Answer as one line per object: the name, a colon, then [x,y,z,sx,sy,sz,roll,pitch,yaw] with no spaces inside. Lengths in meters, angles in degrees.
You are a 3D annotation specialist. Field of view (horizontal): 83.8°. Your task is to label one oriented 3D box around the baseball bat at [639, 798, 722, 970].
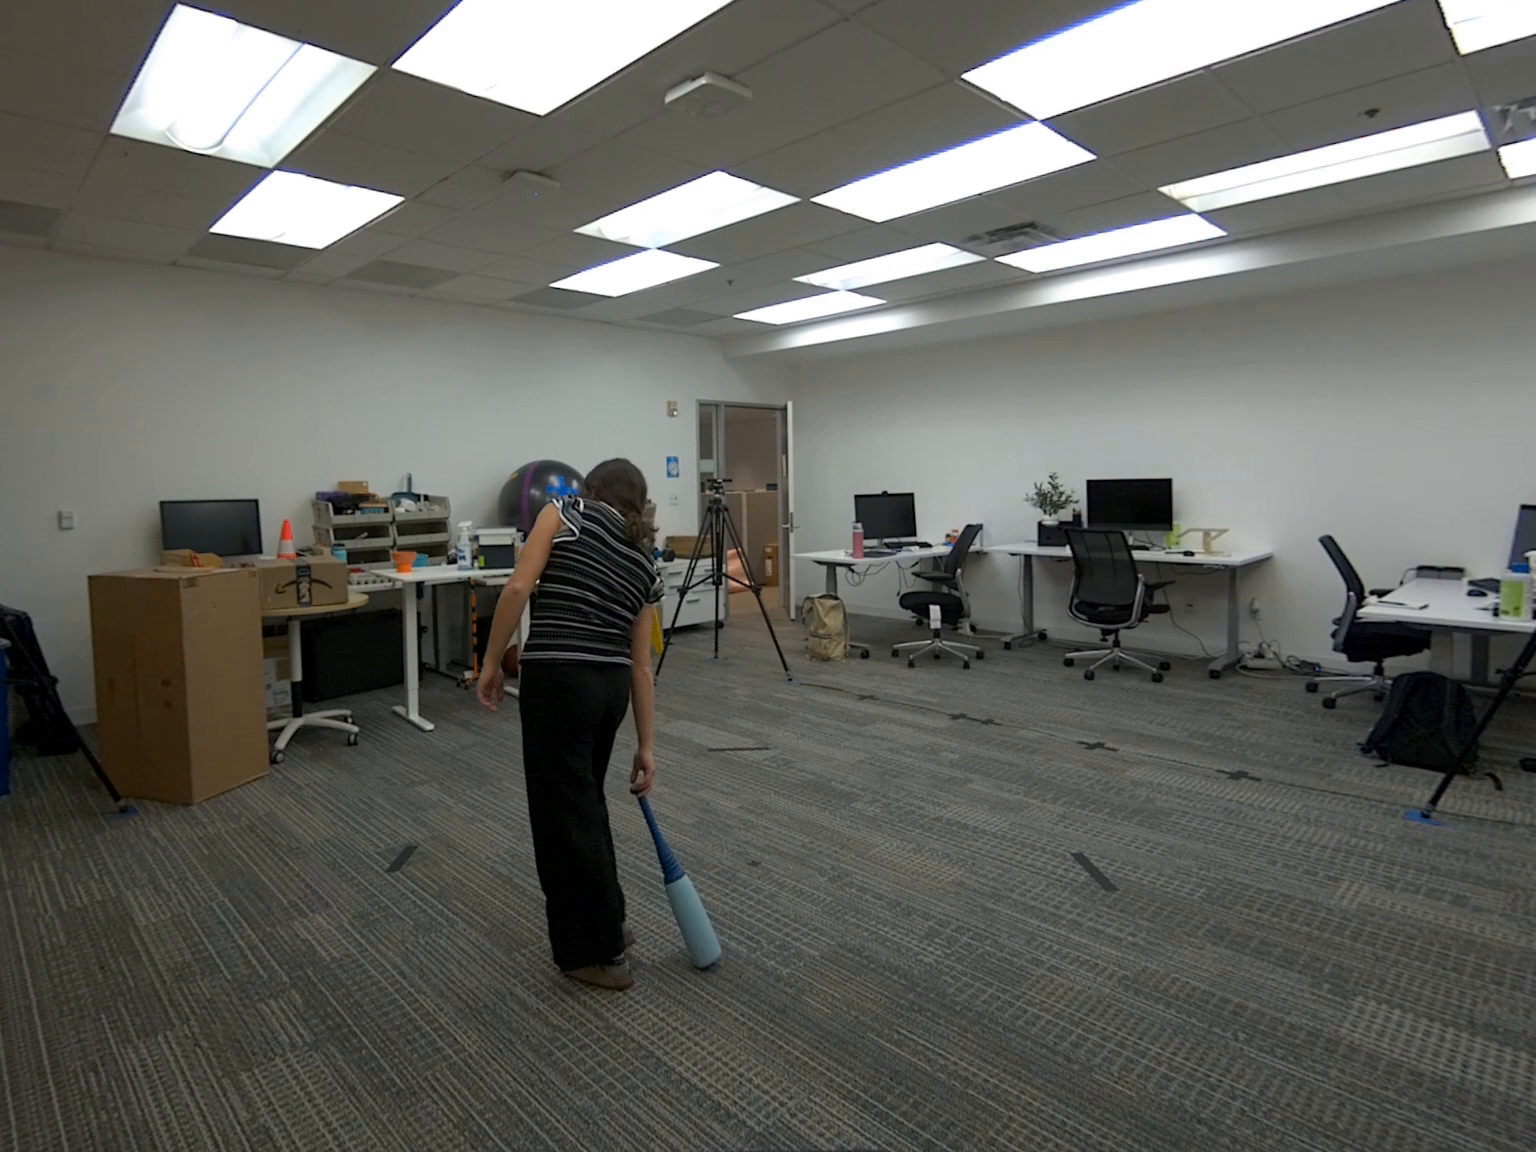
baseball bat: [-0.280,0.865,2.494,0.089,0.548,0.088,-26,-7,-4]
